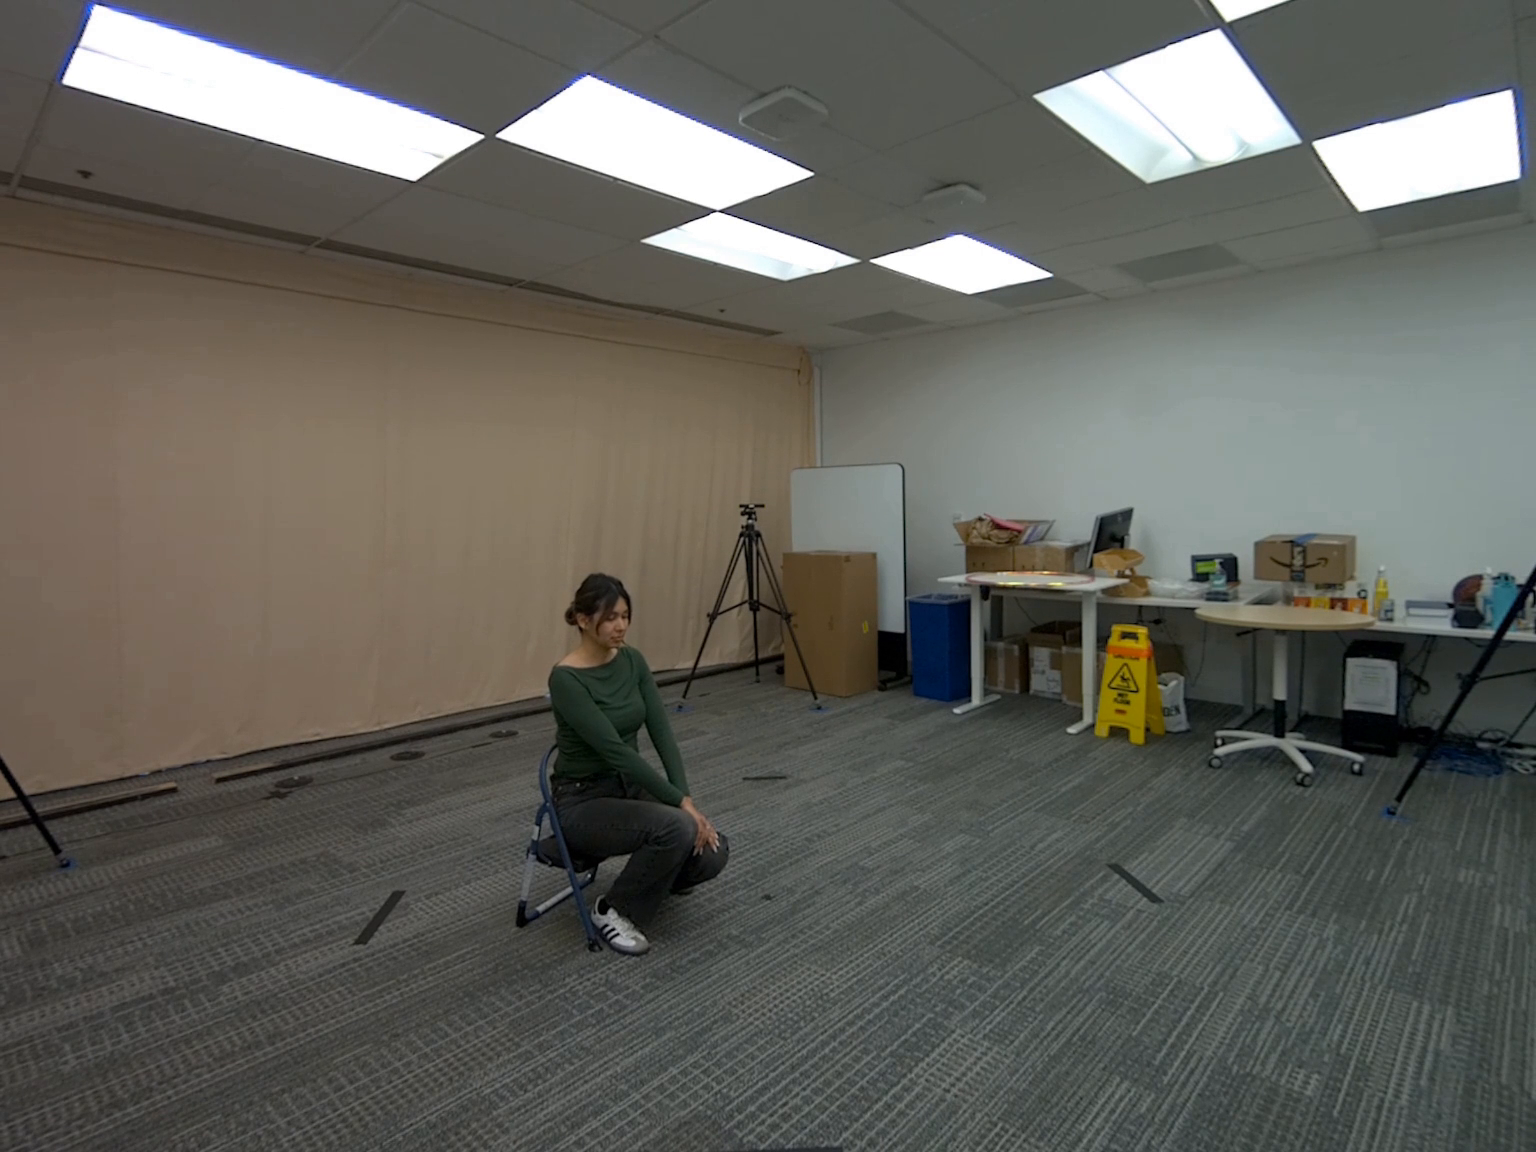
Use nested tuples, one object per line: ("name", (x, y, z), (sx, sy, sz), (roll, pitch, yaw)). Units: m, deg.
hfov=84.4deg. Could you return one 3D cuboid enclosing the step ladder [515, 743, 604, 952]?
("step ladder", (-0.614, 0.866, 2.898), (0.359, 0.605, 0.420), (0, 3, 27))
